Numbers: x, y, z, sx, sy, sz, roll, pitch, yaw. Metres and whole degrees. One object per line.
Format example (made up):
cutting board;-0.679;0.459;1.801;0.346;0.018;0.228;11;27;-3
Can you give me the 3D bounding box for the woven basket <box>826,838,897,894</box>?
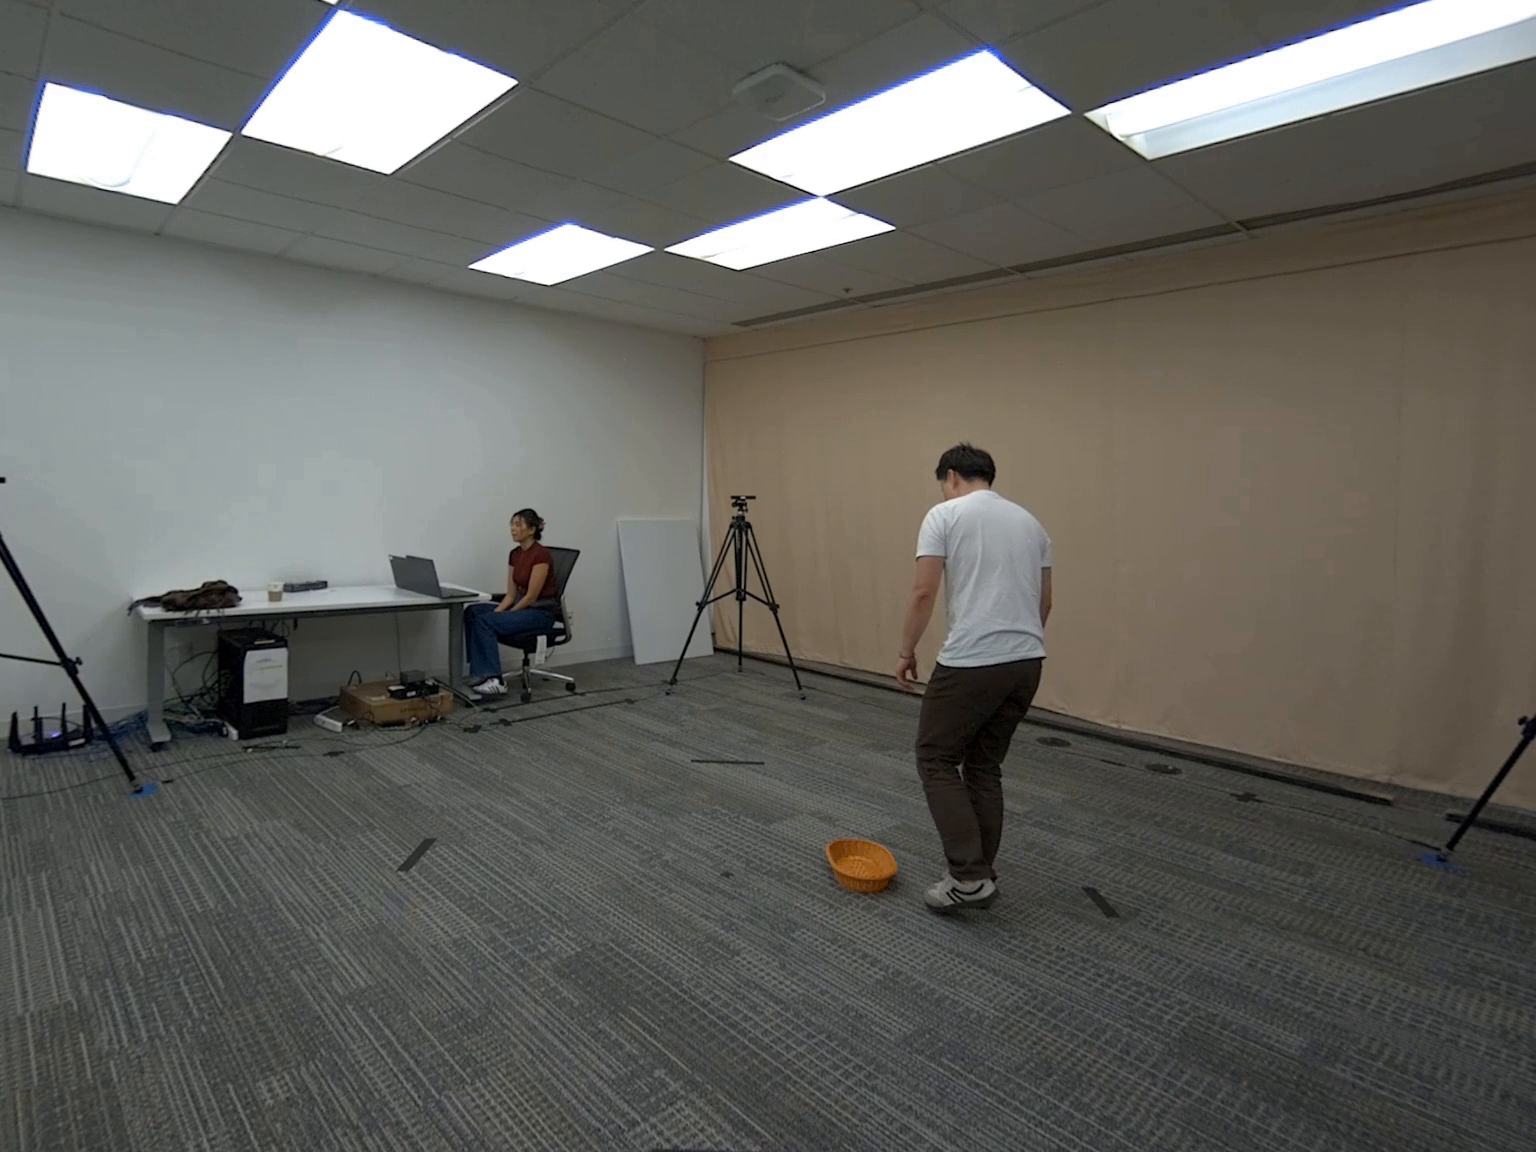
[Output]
woven basket;0.339;1.070;3.115;0.252;0.073;0.352;2;5;-4
